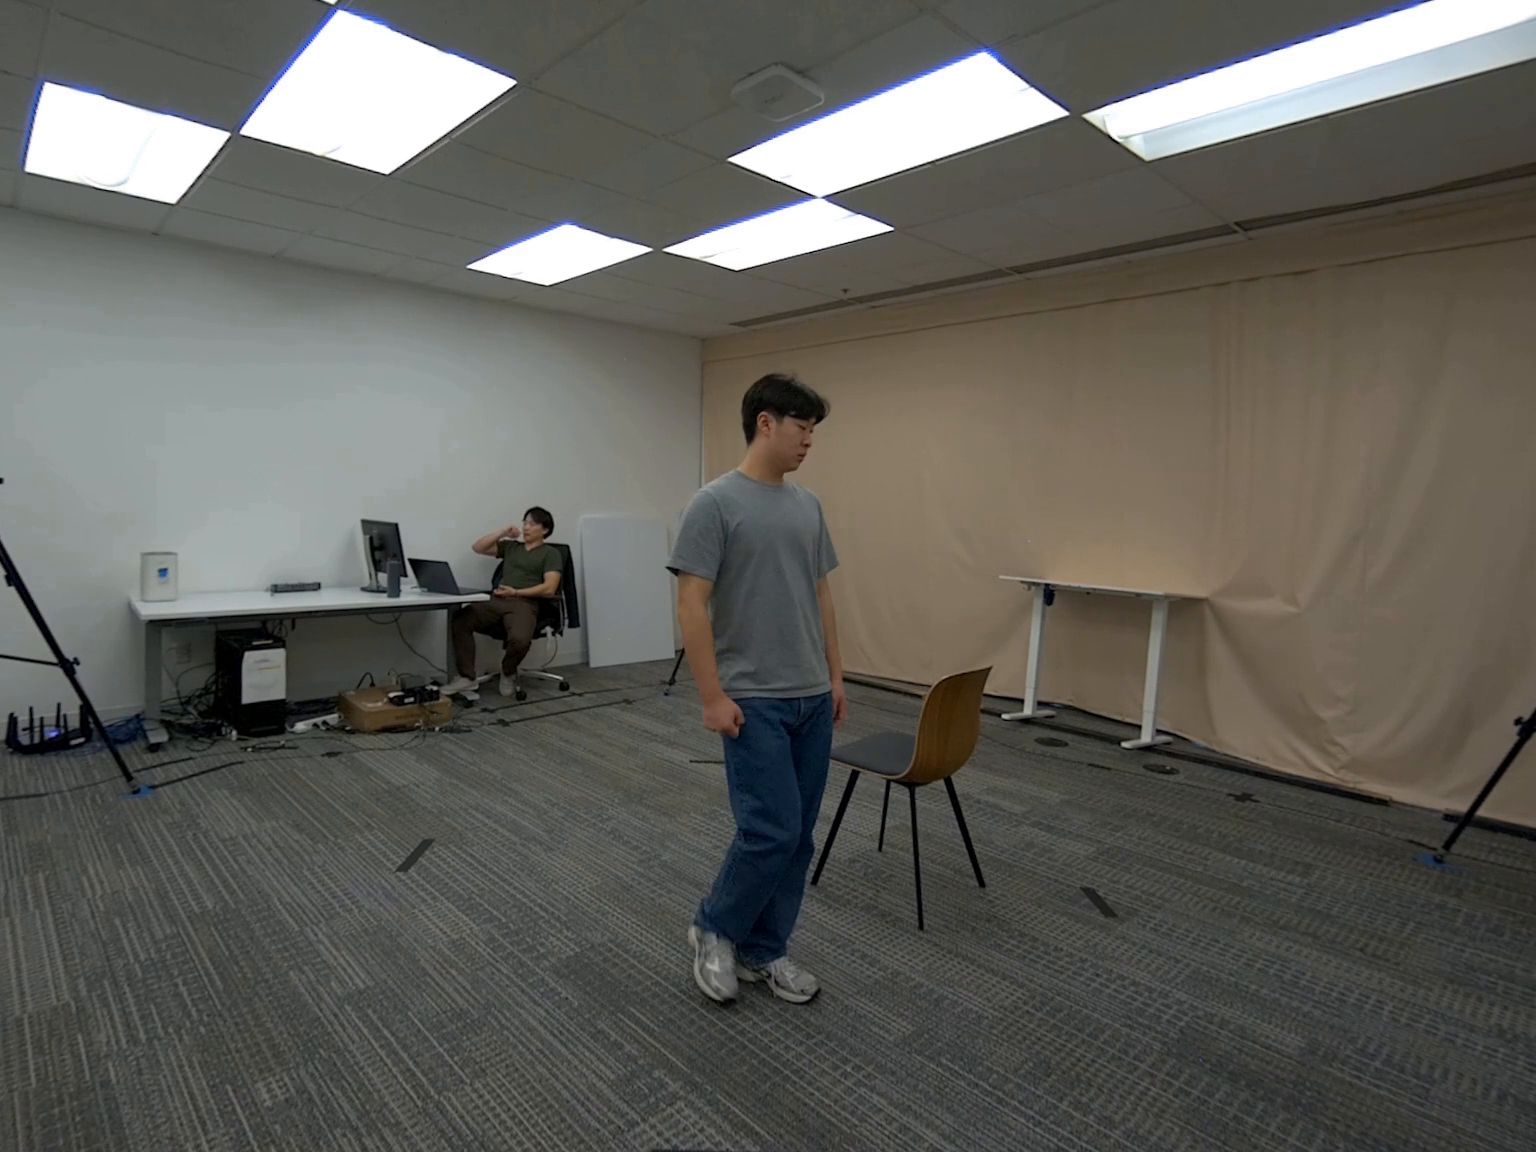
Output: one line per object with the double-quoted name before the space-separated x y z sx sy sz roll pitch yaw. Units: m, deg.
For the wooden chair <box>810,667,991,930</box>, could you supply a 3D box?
"wooden chair" 0.474 0.698 3.023 0.537 0.873 0.467 11 8 41
